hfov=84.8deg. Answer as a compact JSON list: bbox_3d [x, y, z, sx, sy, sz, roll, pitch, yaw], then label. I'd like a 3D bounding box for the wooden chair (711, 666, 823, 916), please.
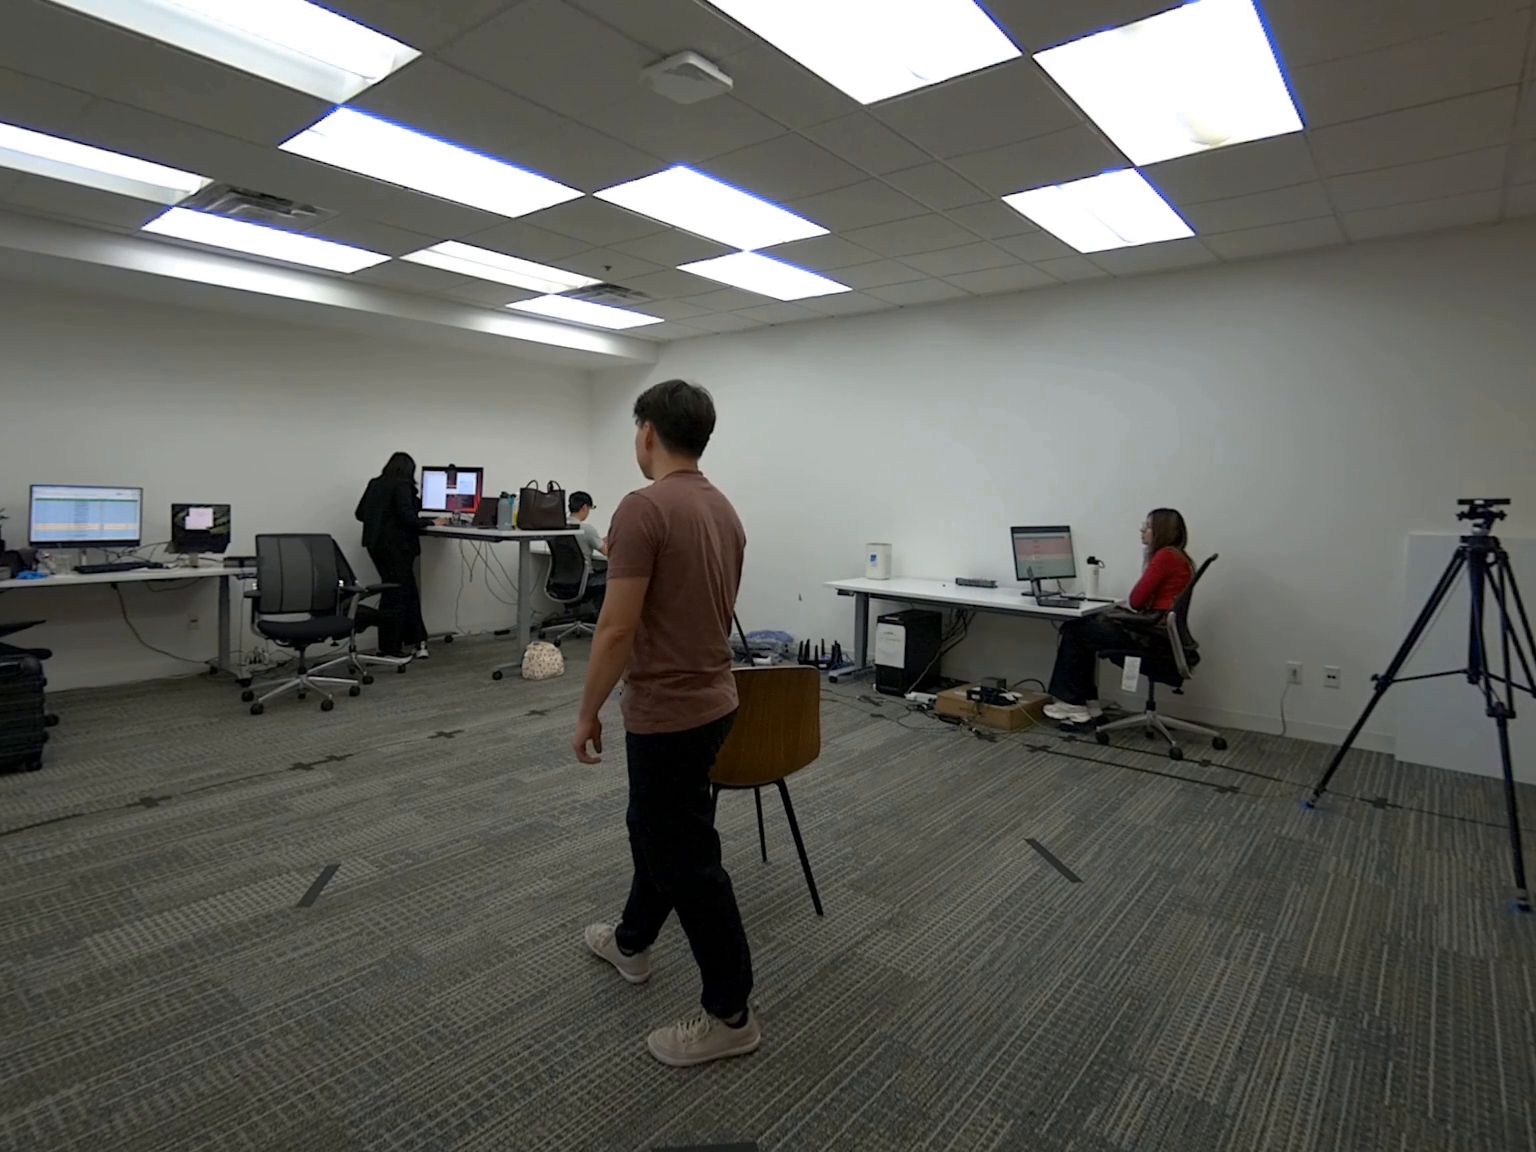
[{"bbox_3d":[-0.114,0.669,2.893,0.467,0.872,0.538,-1,8,-24],"label":"wooden chair"}]
